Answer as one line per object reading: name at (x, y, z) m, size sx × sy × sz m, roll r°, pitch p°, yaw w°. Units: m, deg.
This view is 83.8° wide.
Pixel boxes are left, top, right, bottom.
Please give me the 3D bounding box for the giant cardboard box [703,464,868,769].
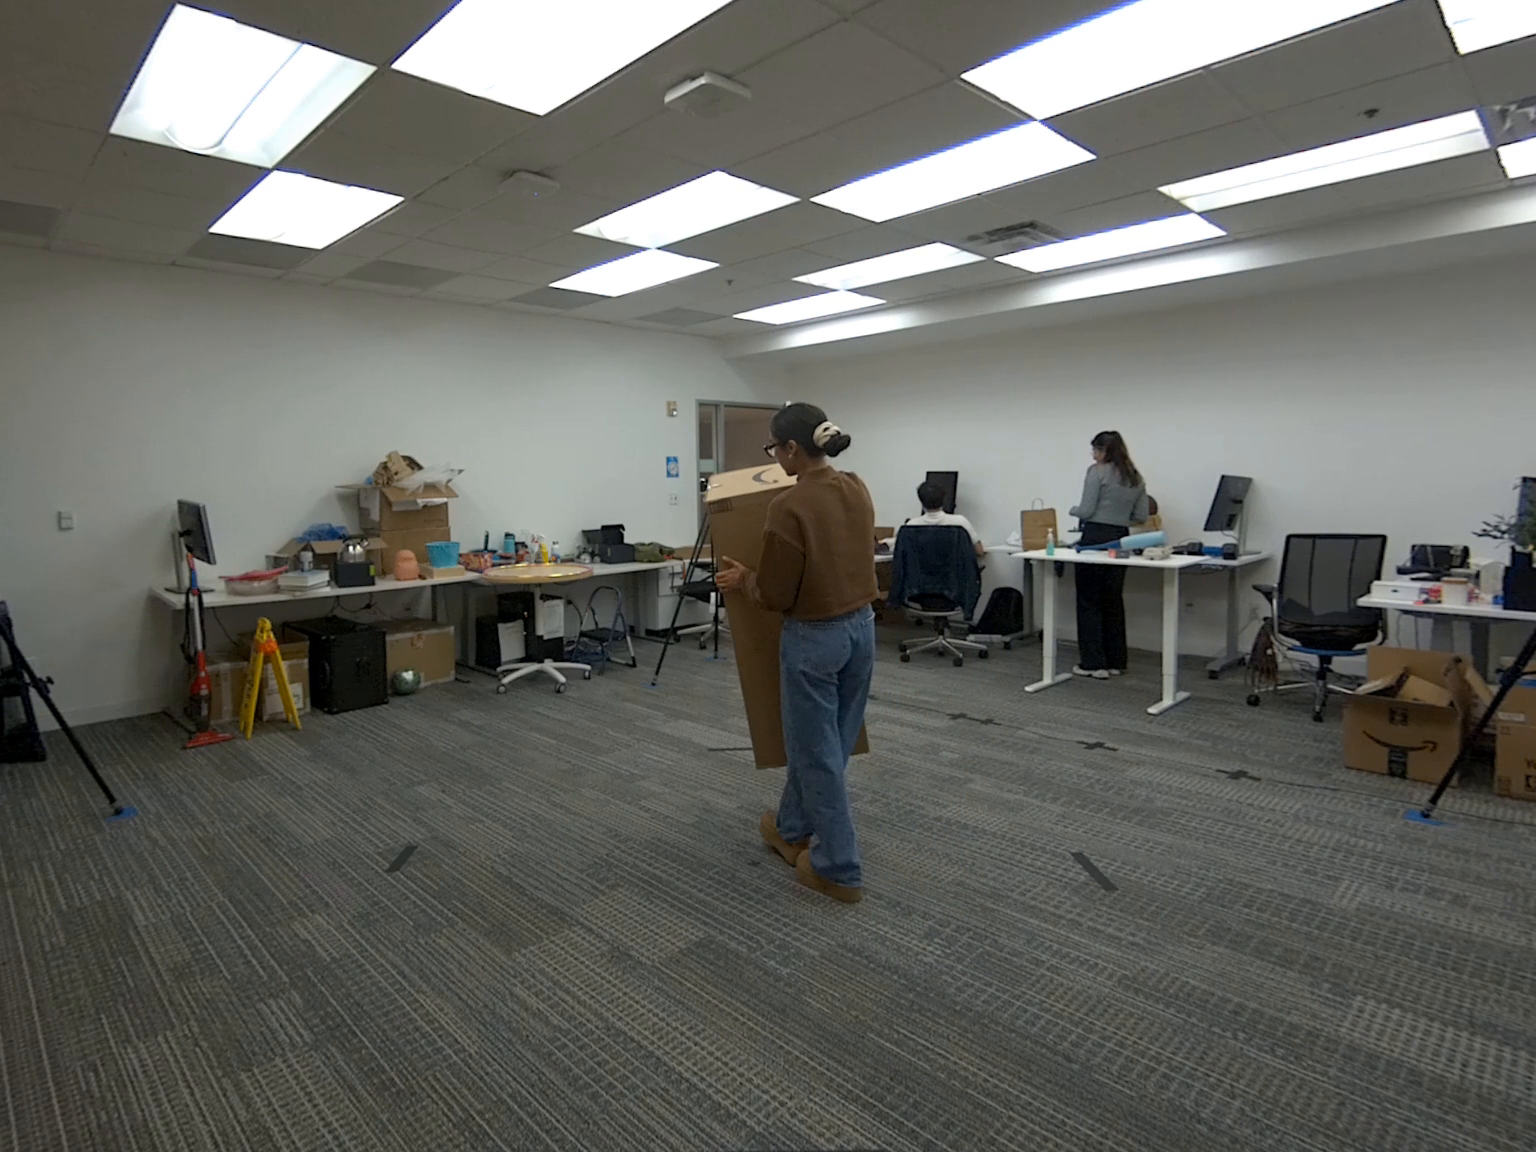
giant cardboard box at (0.070, 0.124, 3.299) m, size 0.427 × 1.013 × 0.583 m, roll -10°, pitch 12°, yaw 2°
